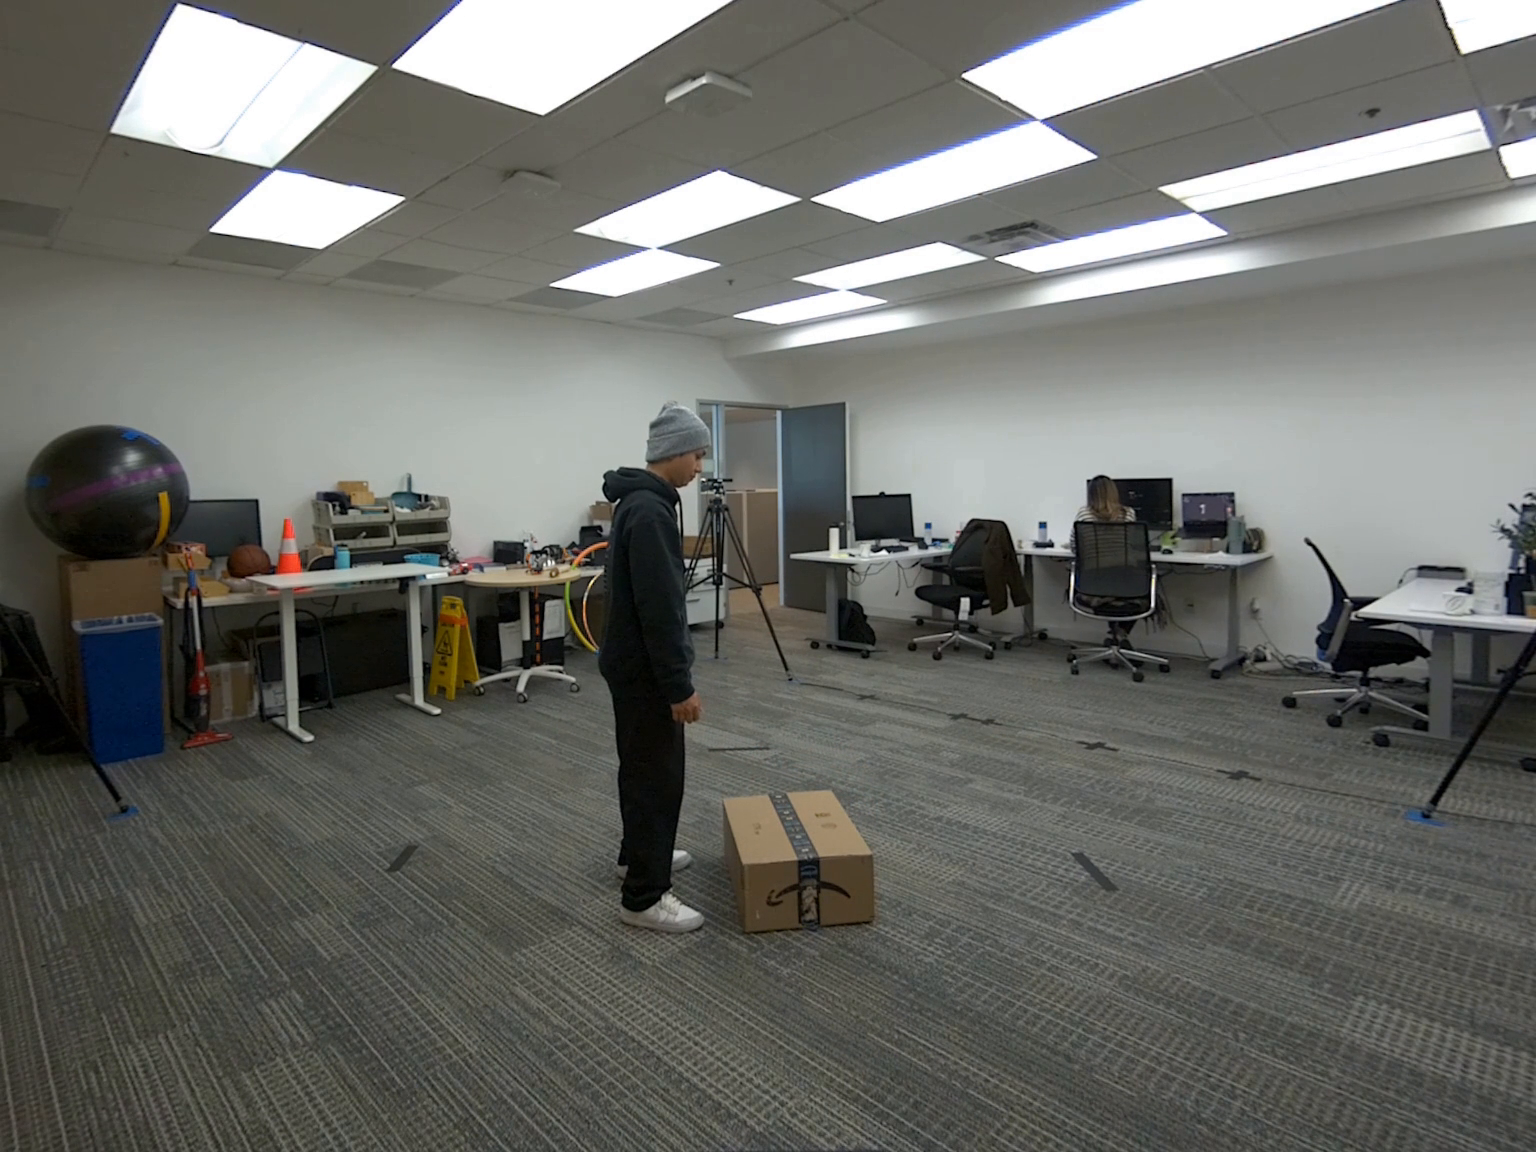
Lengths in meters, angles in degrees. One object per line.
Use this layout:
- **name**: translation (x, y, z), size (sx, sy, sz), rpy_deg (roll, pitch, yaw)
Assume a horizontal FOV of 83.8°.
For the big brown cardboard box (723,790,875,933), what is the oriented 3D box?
- **big brown cardboard box**: translation (0.085, 0.949, 2.918), size (0.415, 0.232, 0.596), rpy_deg (-3, 7, -8)
